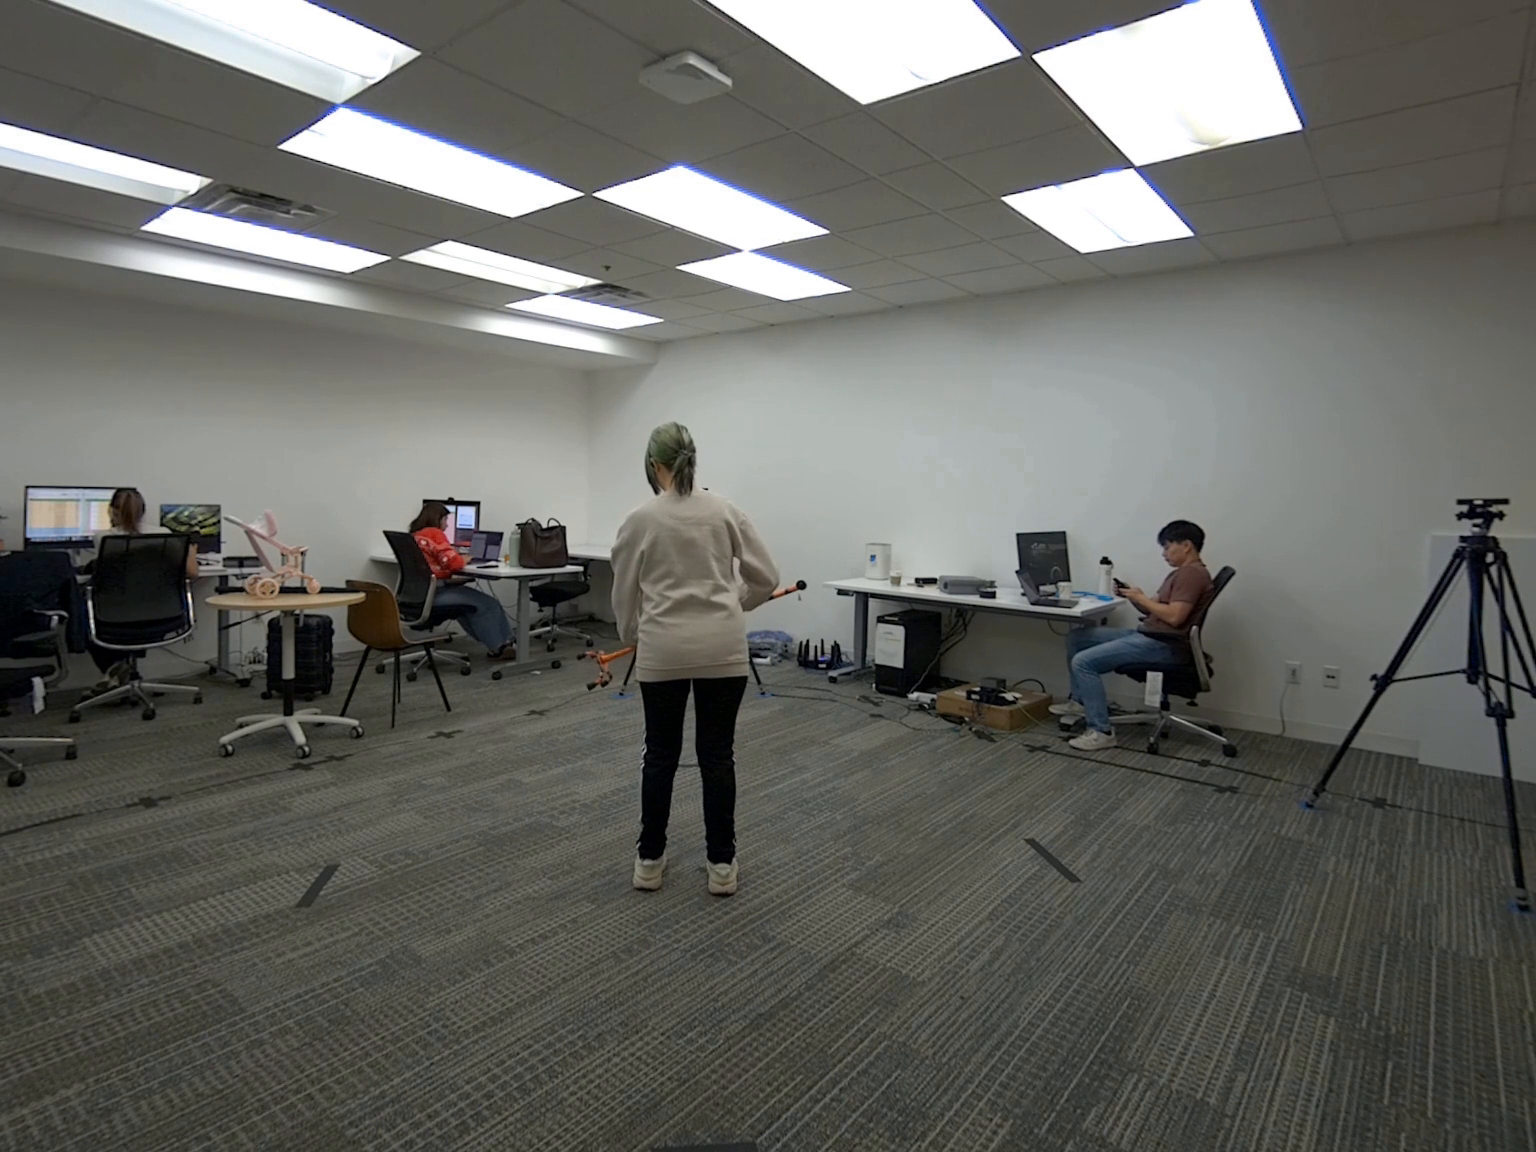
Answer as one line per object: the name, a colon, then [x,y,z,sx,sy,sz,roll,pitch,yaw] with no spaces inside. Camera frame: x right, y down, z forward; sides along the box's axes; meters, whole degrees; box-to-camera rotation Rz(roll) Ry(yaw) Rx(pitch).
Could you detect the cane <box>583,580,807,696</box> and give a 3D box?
cane: [-0.287,0.212,3.293,0.911,0.153,0.203,-22,-8,6]
